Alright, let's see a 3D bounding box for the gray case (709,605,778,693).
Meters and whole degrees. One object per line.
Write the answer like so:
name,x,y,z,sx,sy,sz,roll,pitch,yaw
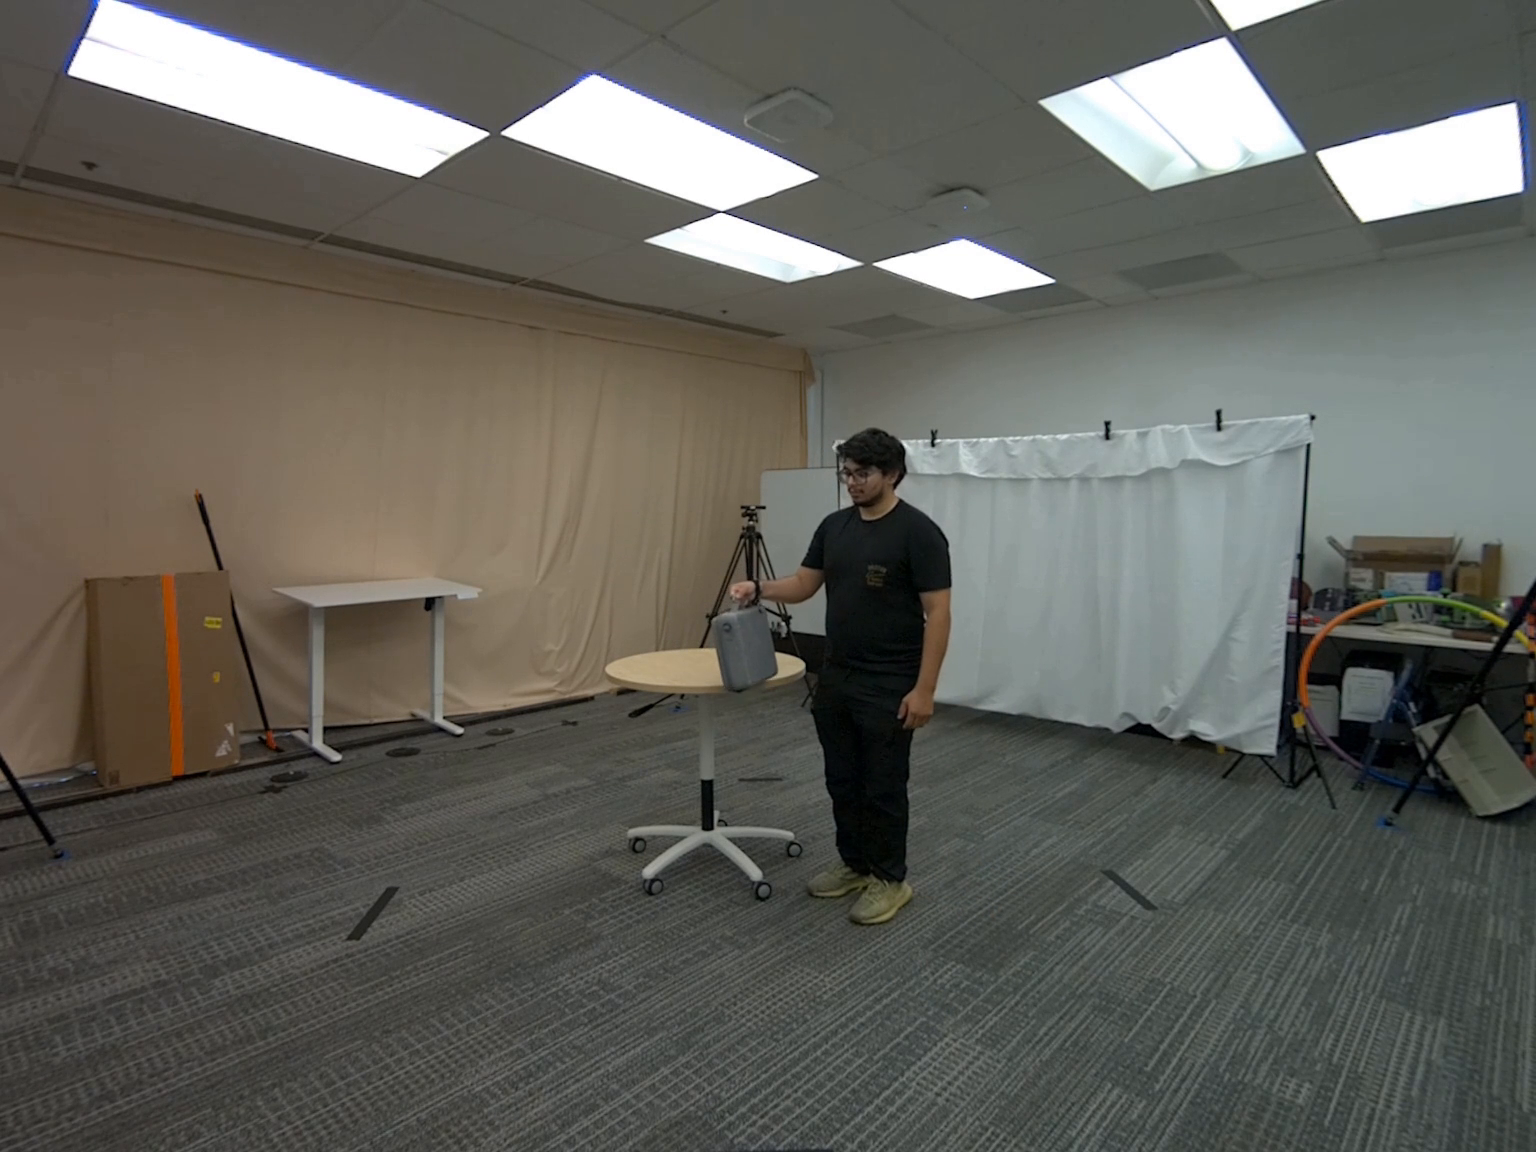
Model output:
gray case,-0.072,0.237,2.804,0.107,0.261,0.251,-11,0,25
